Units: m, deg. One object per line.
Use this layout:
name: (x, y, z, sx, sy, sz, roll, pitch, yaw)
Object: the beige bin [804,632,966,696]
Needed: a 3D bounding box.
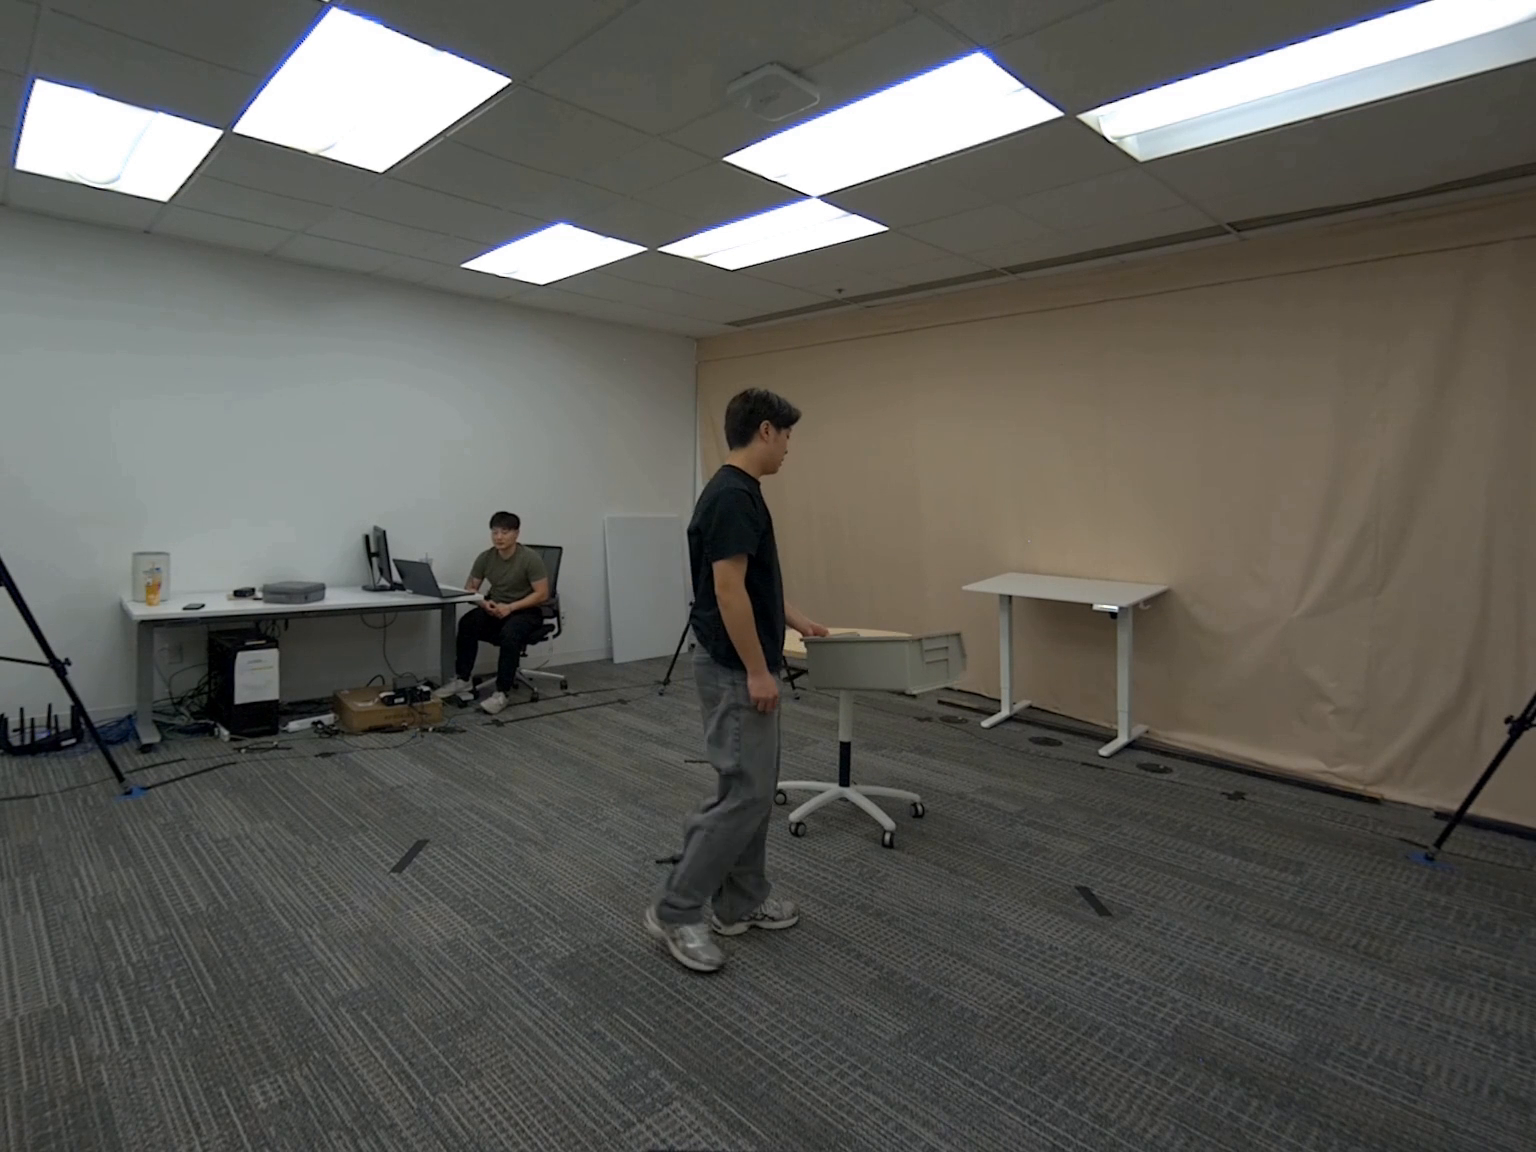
beige bin: (0.383, 0.285, 2.846, 0.431, 0.189, 0.369, -4, -1, 41)
